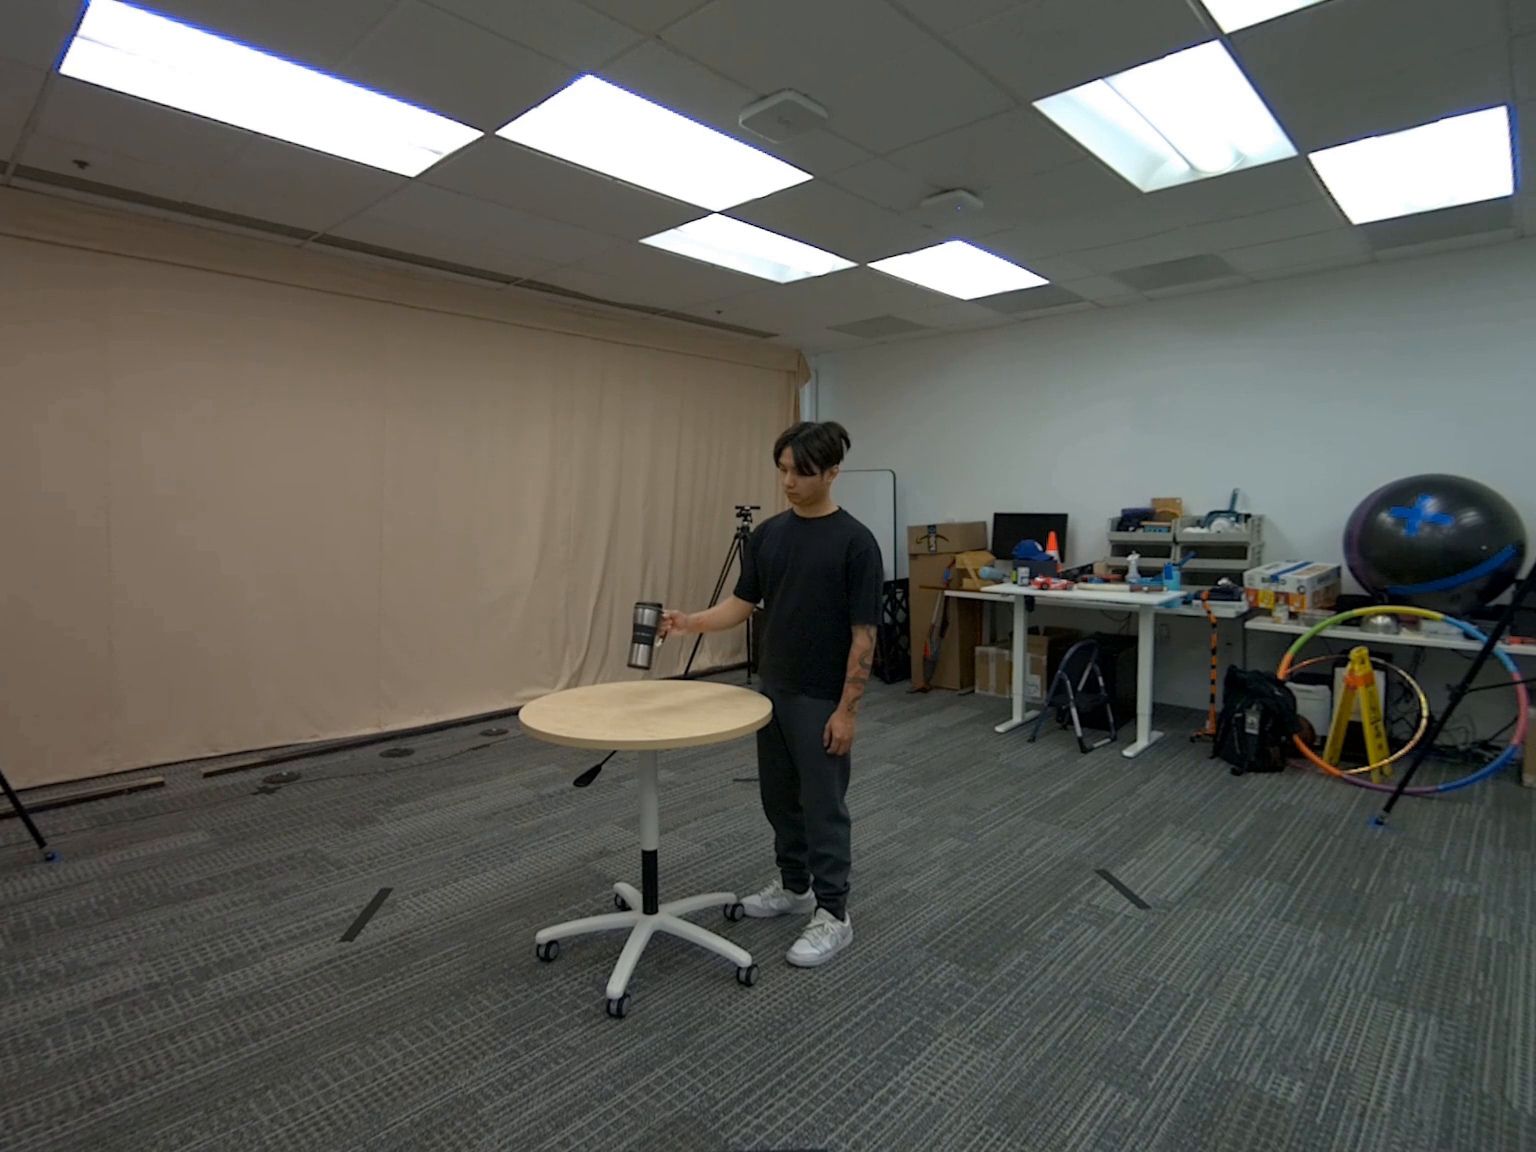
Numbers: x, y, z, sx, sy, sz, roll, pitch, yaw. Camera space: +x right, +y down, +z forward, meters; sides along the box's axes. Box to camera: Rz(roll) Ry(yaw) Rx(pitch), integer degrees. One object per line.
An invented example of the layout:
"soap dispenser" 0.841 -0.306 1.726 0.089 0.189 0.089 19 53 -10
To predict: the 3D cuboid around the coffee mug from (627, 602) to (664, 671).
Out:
"coffee mug" -0.357 0.181 2.546 0.126 0.204 0.085 0 -15 36
